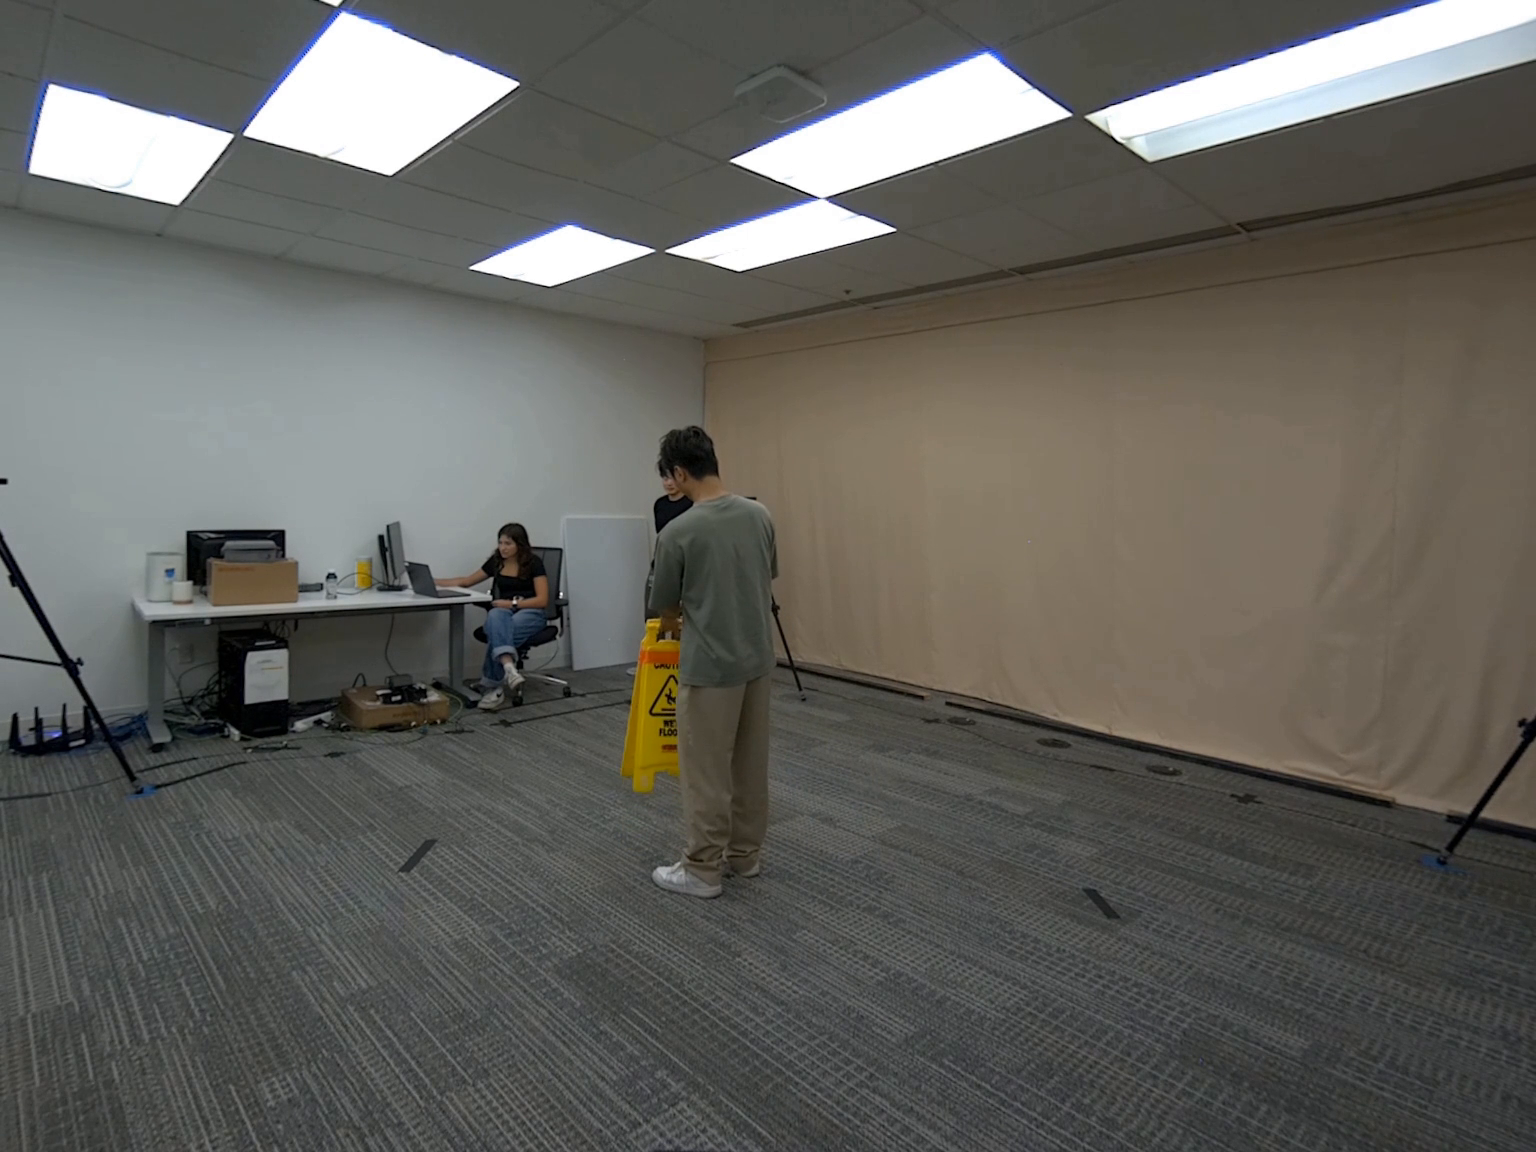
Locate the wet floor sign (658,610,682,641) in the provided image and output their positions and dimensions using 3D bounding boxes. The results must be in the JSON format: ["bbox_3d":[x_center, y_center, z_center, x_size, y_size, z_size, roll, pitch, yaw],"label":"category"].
[{"bbox_3d":[-0.419,0.507,3.364,0.277,0.647,0.294,4,-3,-22],"label":"wet floor sign"}]
